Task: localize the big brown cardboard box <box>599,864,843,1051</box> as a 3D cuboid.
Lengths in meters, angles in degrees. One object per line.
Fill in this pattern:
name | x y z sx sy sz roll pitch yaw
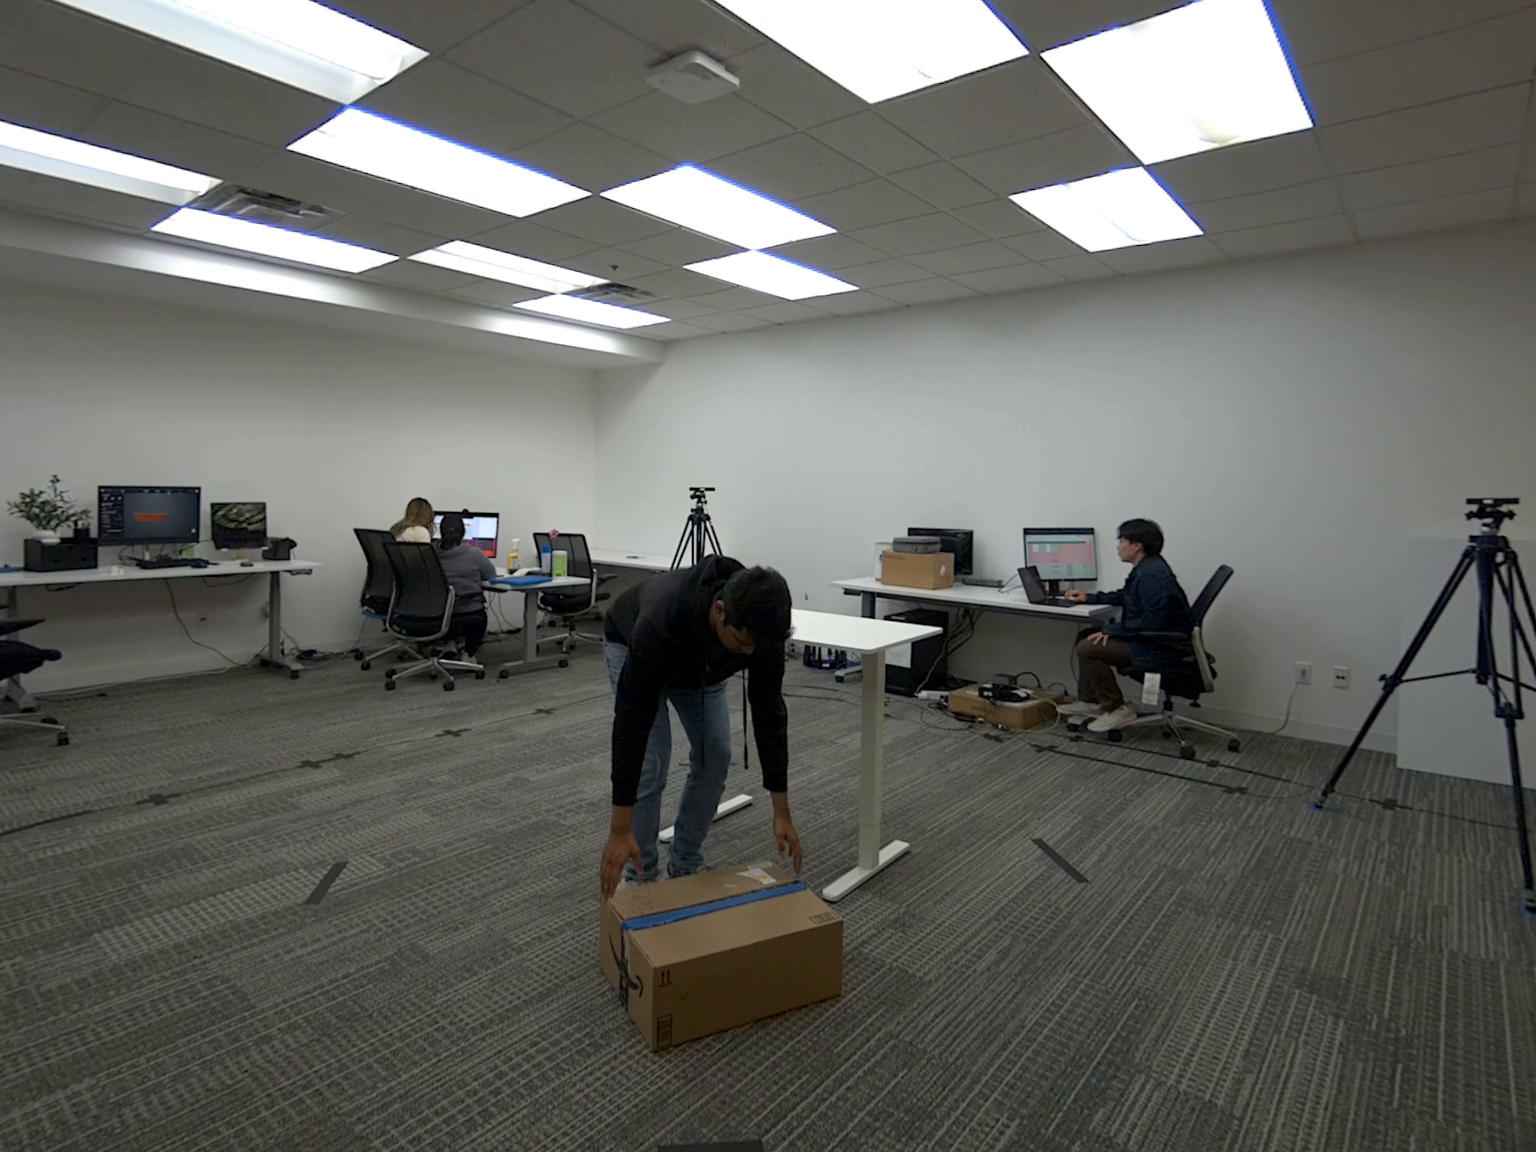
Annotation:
big brown cardboard box | -0.140 1.028 2.395 0.574 0.232 0.430 -3 7 -28
